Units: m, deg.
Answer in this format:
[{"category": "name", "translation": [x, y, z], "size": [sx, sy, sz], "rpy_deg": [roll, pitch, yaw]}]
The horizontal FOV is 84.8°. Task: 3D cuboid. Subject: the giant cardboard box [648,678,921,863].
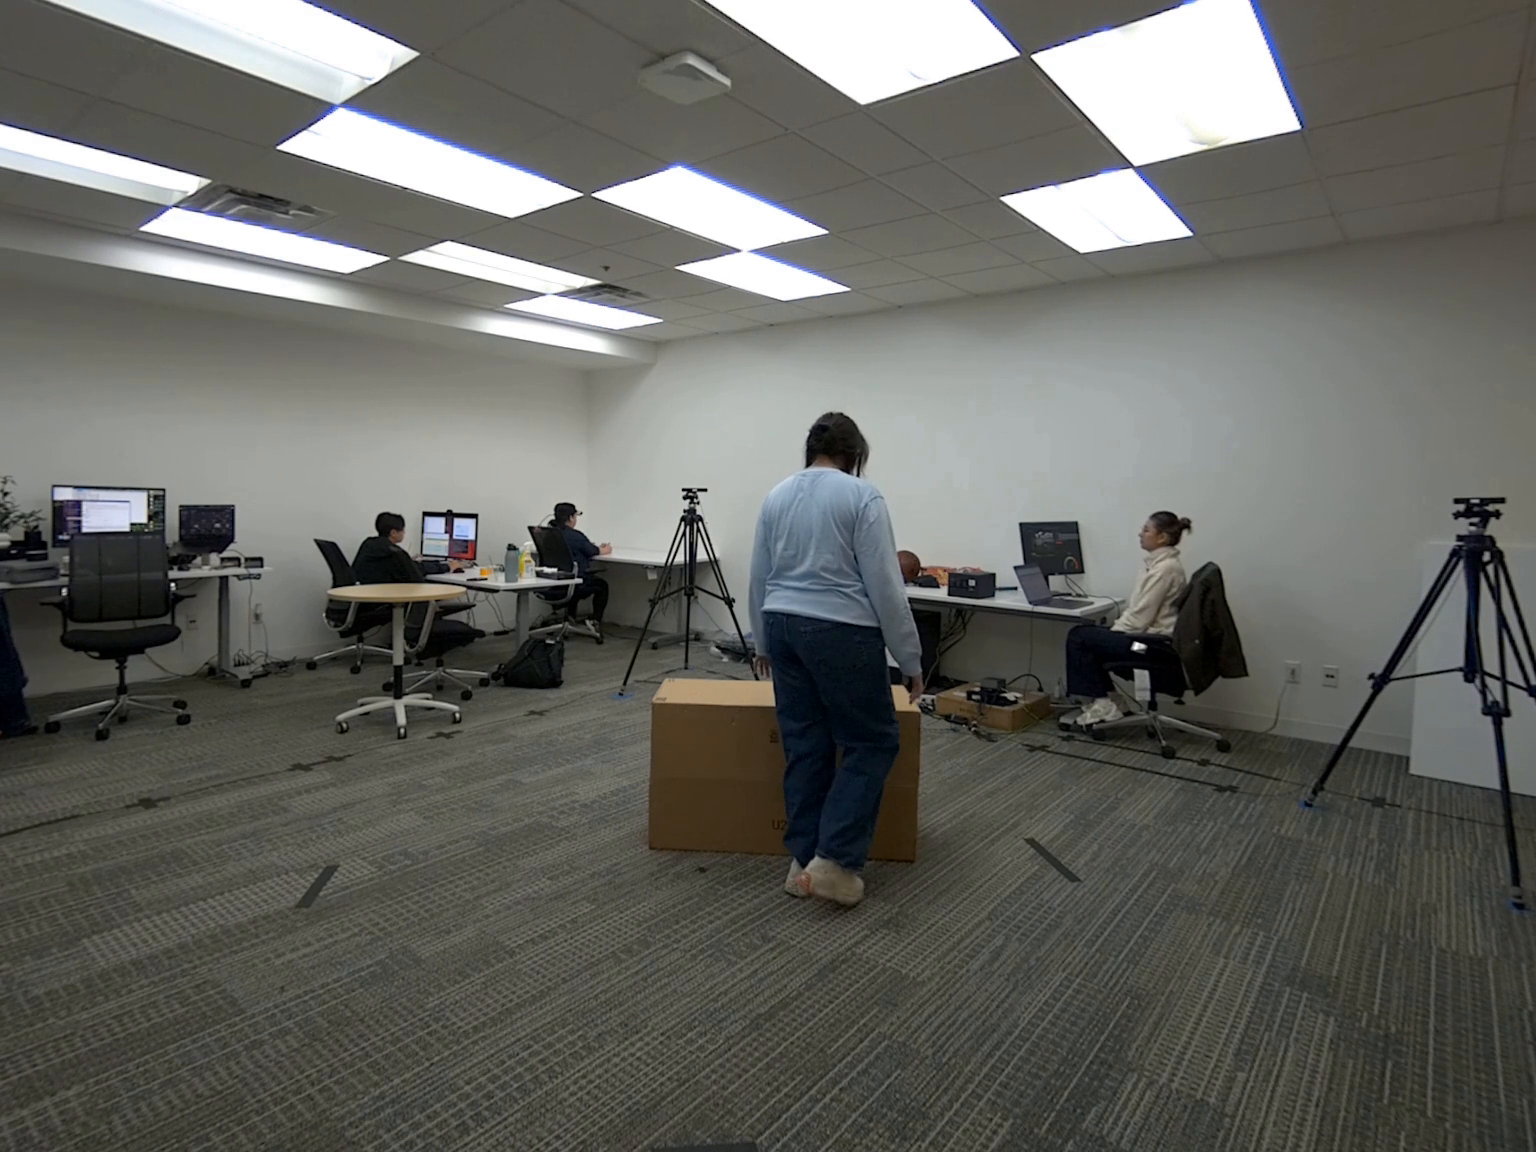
[{"category": "giant cardboard box", "translation": [0.049, 0.751, 3.436], "size": [1.030, 0.576, 0.425], "rpy_deg": [1, 3, 3]}]
